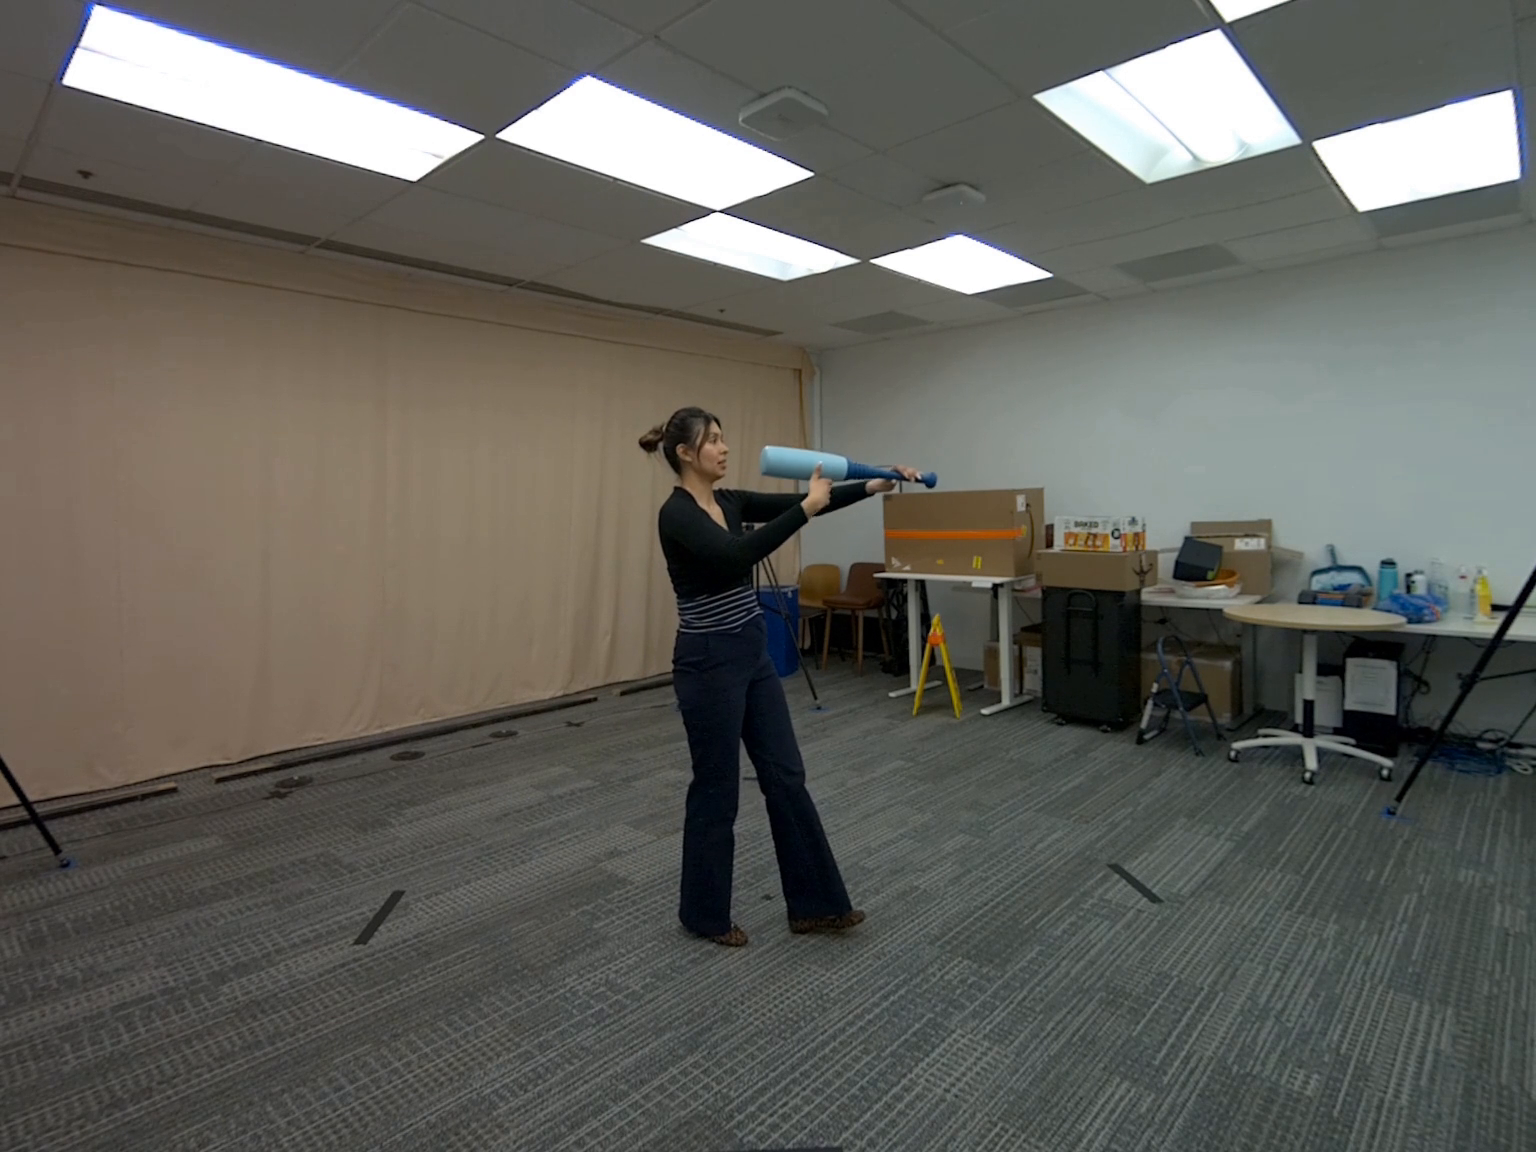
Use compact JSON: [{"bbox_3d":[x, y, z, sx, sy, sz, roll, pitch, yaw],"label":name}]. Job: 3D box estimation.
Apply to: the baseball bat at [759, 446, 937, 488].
[{"bbox_3d":[0.246,-0.304,2.453,0.535,0.089,0.090,5,2,-13],"label":"baseball bat"}]
